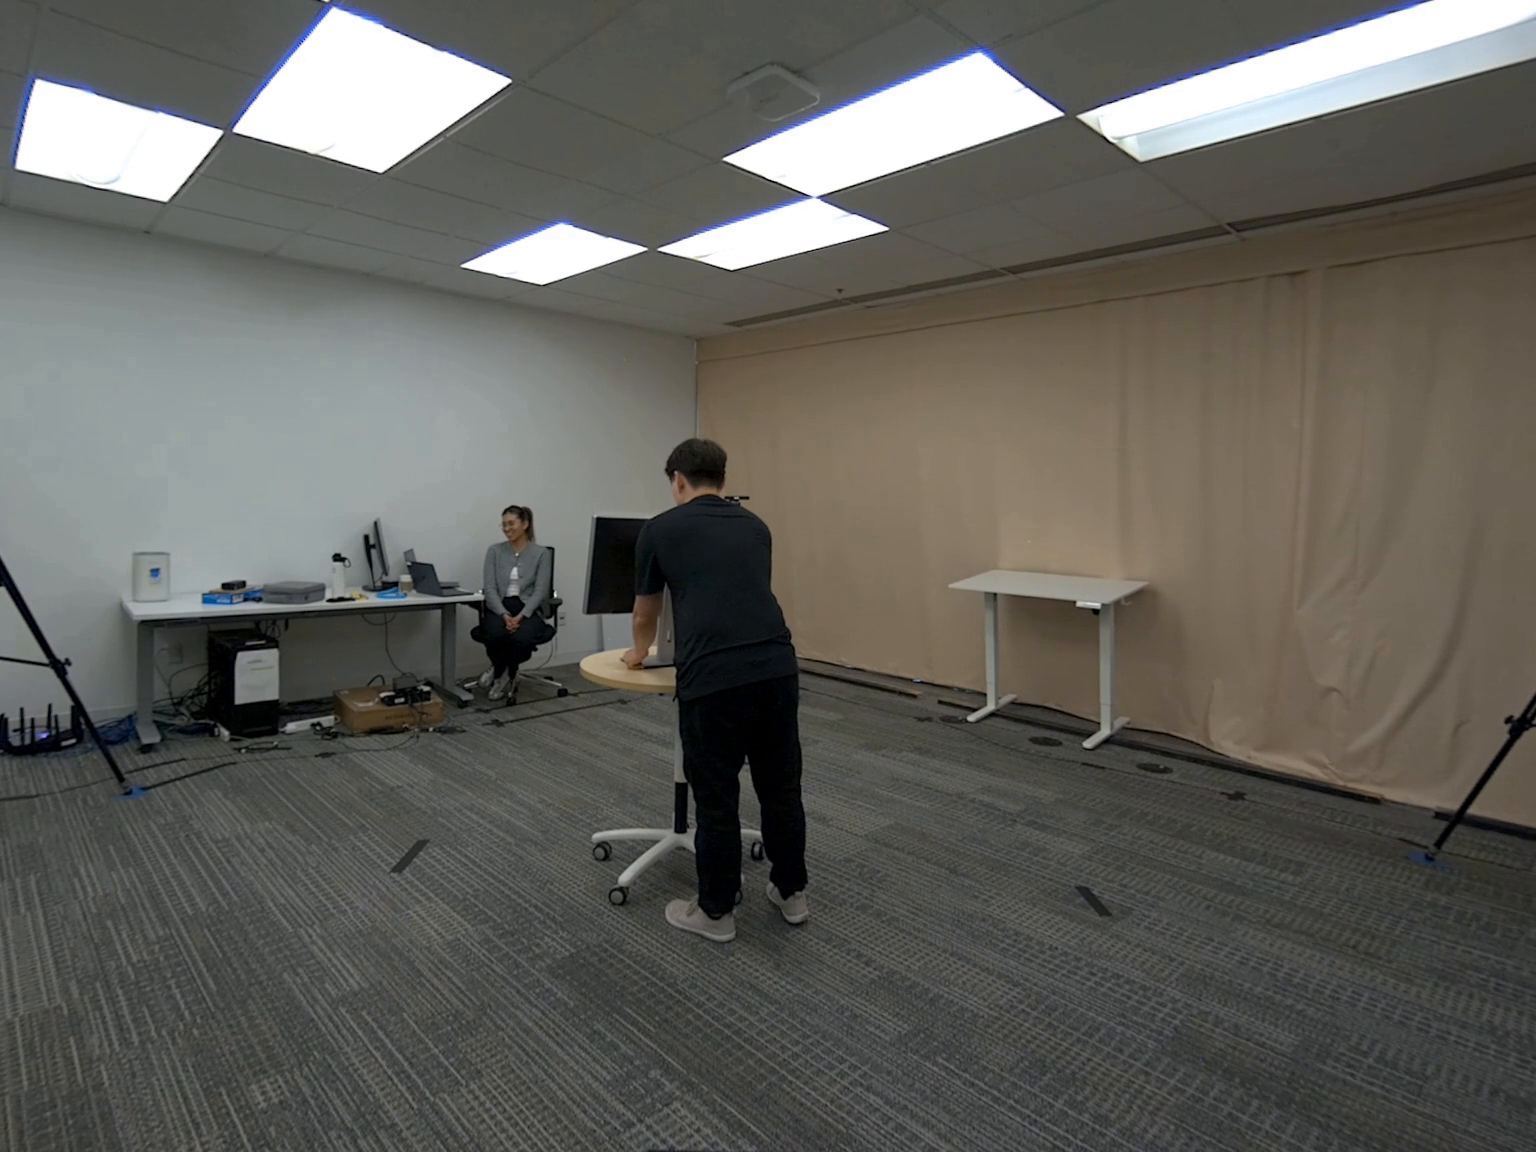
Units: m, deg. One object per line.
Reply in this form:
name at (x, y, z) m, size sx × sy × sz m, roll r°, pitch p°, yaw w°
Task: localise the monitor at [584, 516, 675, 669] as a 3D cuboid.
monitor at (-0.402, 0.055, 3.114) m, size 0.527 × 0.522 × 0.191 m, roll 0°, pitch 1°, yaw -37°
